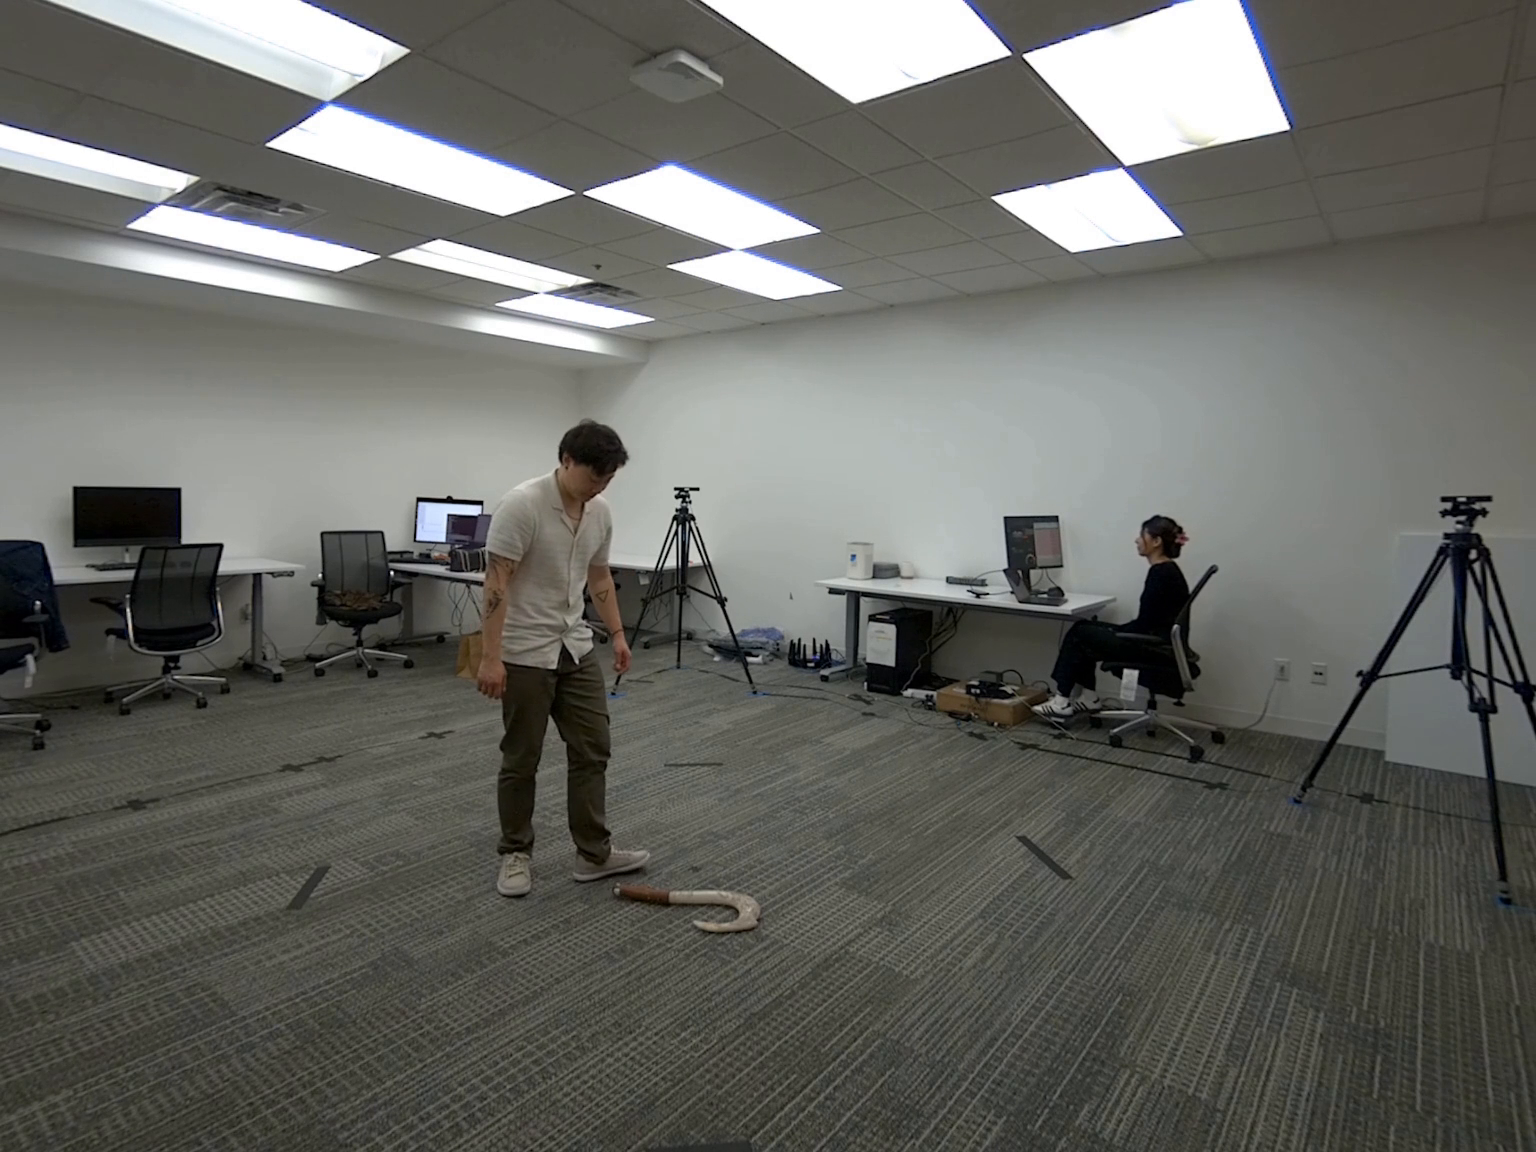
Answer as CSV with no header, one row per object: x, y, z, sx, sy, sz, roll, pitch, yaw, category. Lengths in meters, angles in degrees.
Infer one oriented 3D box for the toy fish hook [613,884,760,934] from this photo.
-0.288,1.073,2.774,0.513,0.048,0.222,2,4,10,toy fish hook
